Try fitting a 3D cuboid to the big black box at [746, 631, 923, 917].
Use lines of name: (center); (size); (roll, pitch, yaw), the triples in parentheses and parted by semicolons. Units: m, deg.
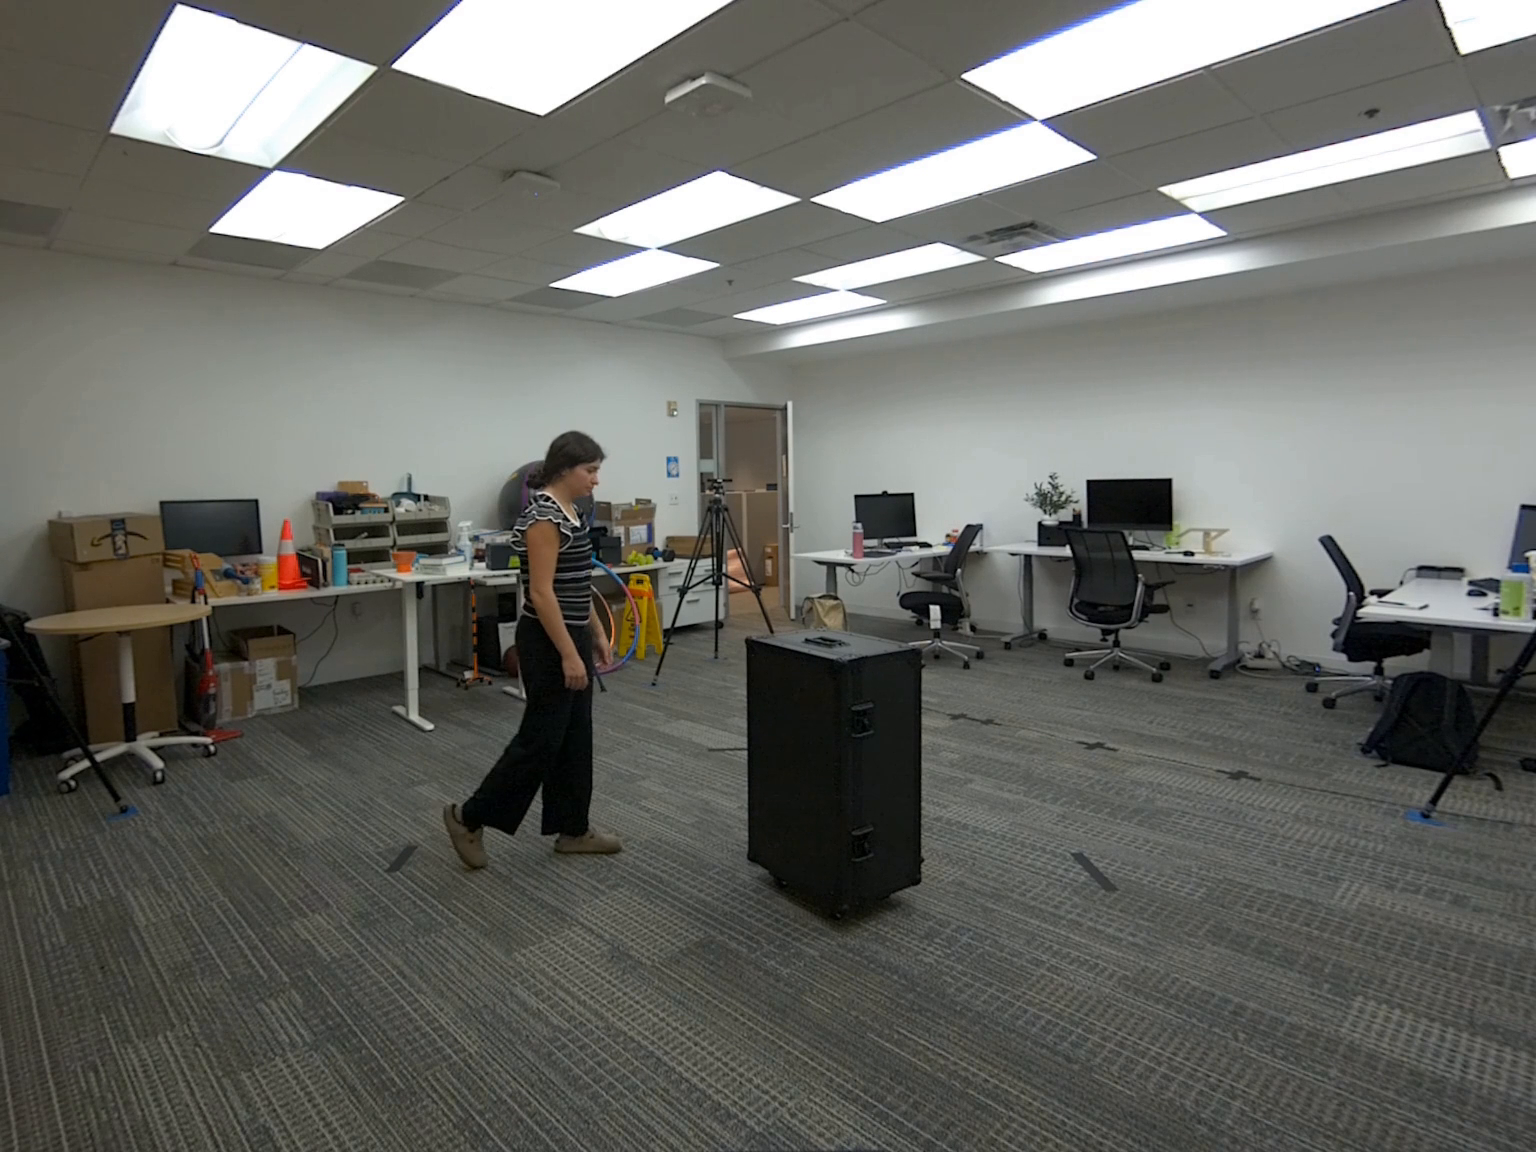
big black box: (0.226, 0.643, 2.864); (0.386, 0.859, 0.536); (-2, 3, -35)
